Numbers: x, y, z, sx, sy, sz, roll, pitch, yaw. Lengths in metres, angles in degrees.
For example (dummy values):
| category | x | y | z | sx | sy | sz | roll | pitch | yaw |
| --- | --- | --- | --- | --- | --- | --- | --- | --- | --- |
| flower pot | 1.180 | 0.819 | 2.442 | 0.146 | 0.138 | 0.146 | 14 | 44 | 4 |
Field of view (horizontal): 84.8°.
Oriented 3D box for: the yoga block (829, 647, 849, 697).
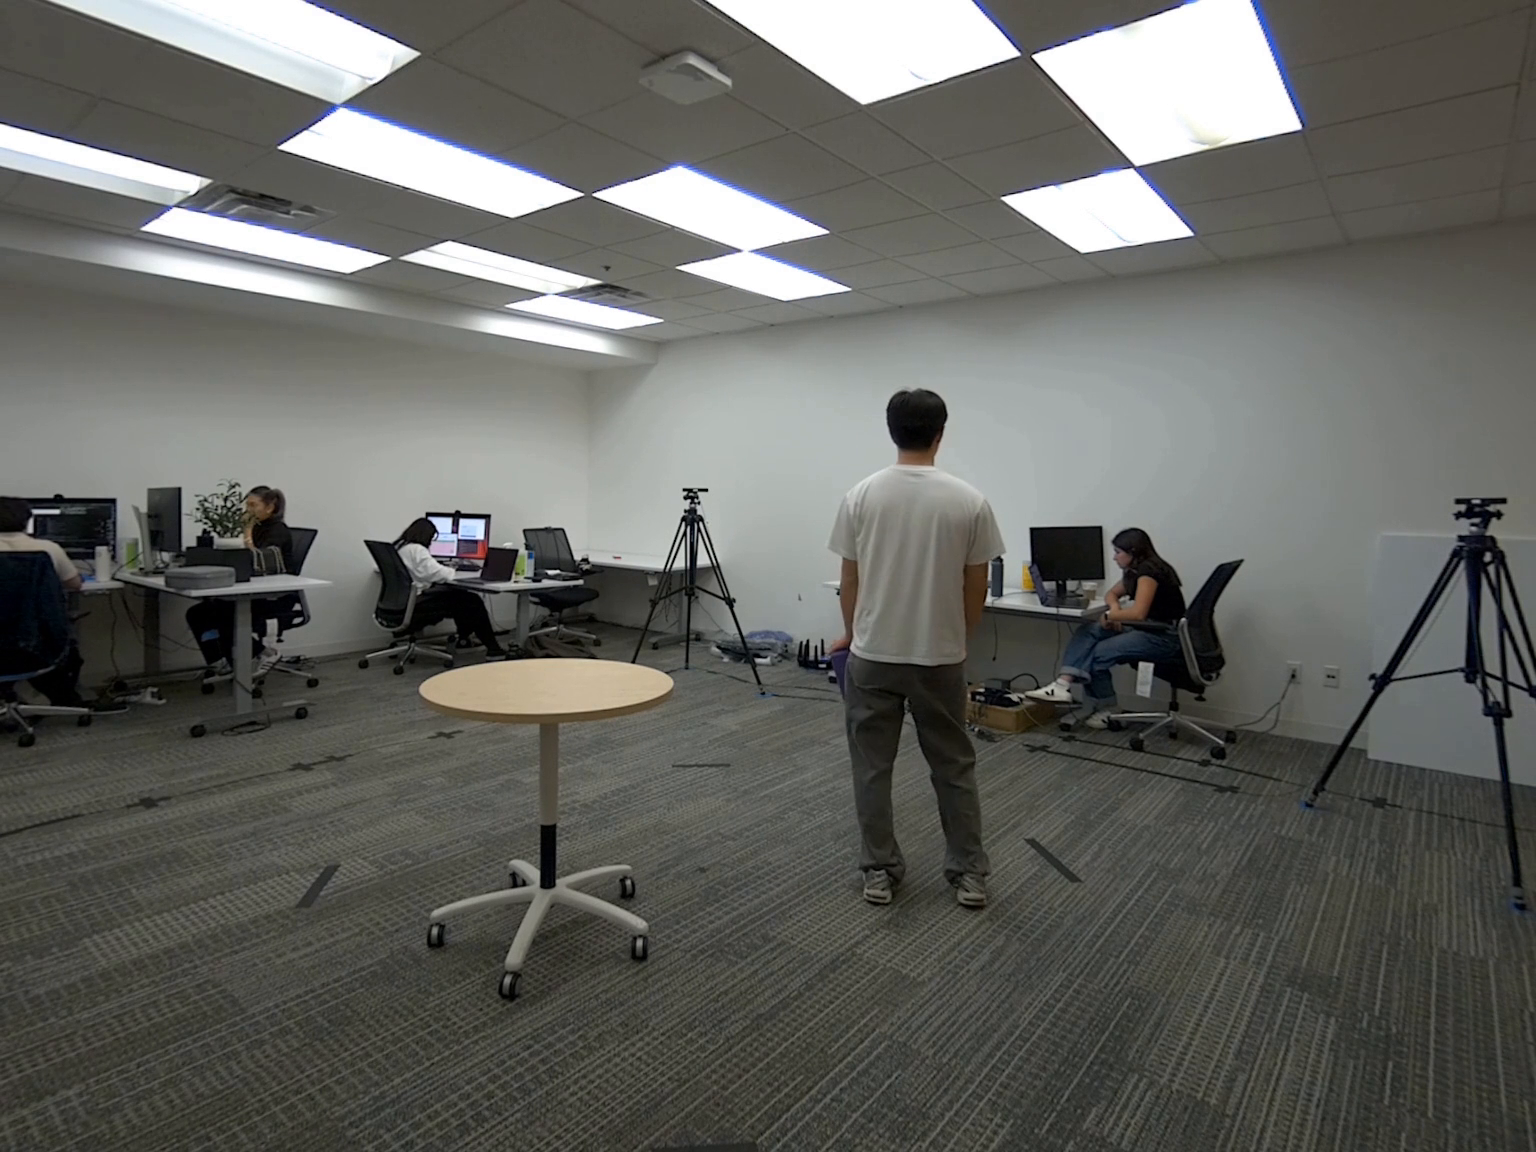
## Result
| category | x | y | z | sx | sy | sz | roll | pitch | yaw |
| --- | --- | --- | --- | --- | --- | --- | --- | --- | --- |
| yoga block | 0.325 | 0.366 | 3.228 | 0.078 | 0.227 | 0.148 | -12 | 8 | 21 |
